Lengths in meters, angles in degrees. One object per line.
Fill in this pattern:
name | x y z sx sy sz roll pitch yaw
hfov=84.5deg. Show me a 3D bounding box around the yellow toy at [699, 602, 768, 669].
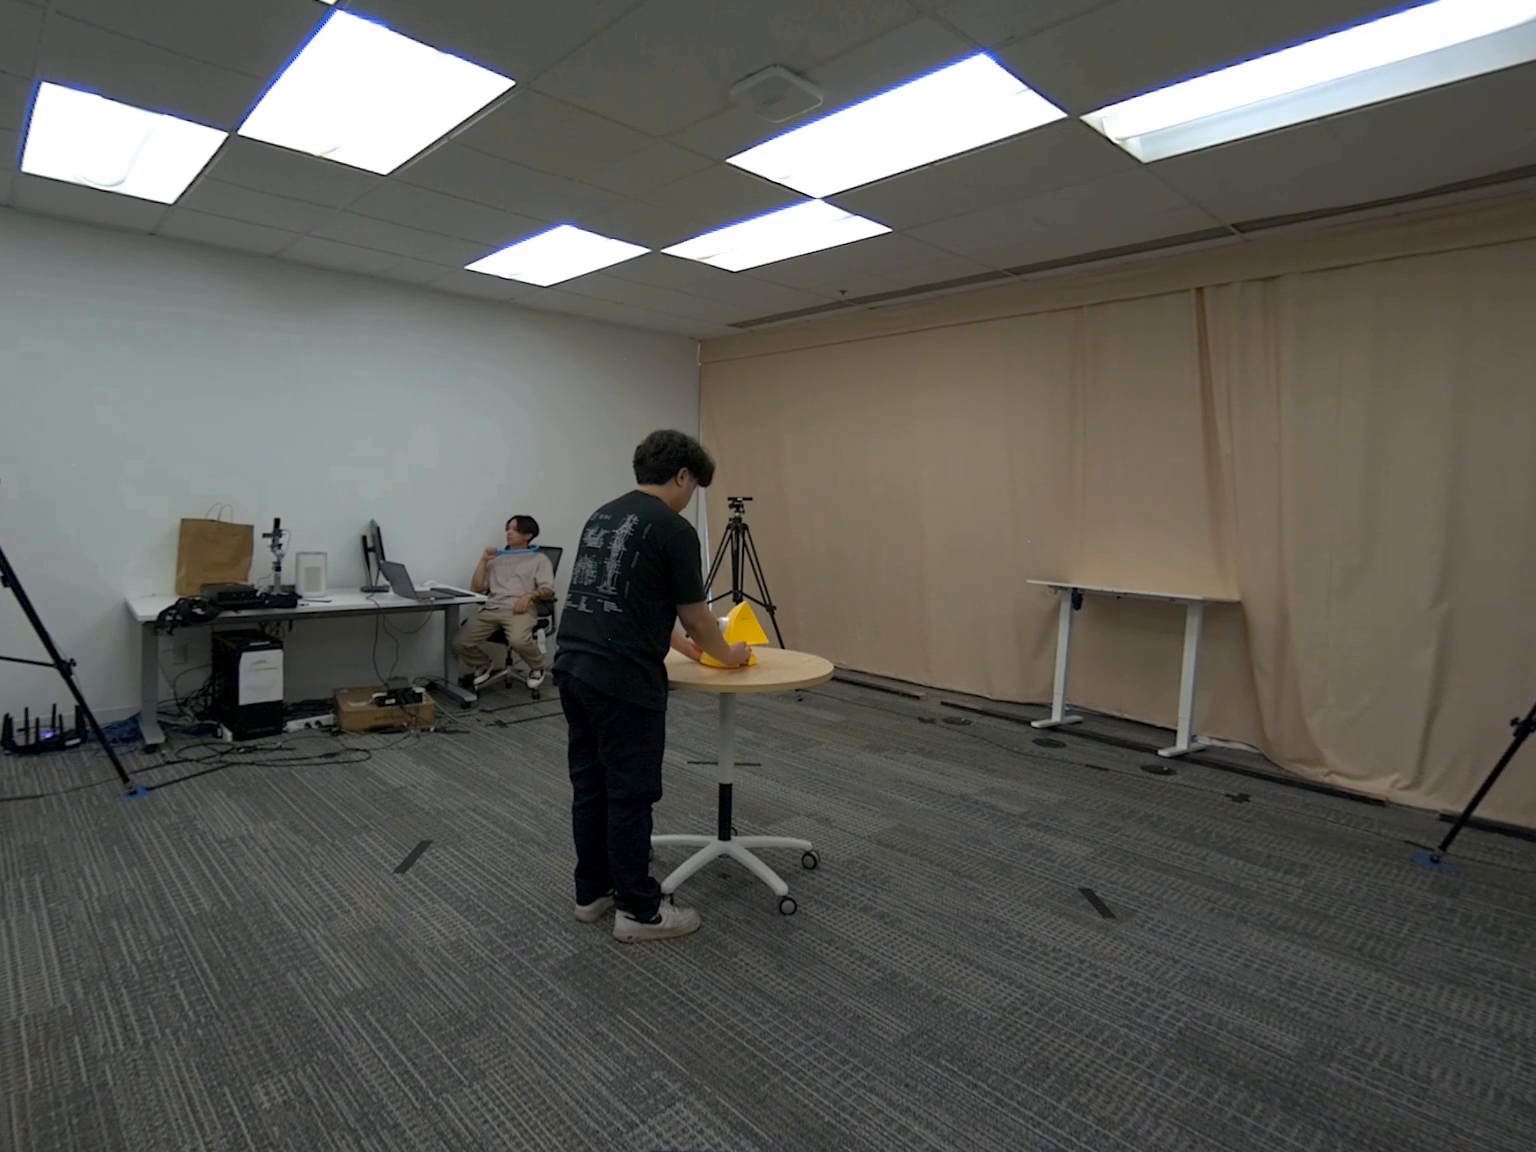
yellow toy | -0.142 0.199 3.034 0.198 0.230 0.200 5 3 44
